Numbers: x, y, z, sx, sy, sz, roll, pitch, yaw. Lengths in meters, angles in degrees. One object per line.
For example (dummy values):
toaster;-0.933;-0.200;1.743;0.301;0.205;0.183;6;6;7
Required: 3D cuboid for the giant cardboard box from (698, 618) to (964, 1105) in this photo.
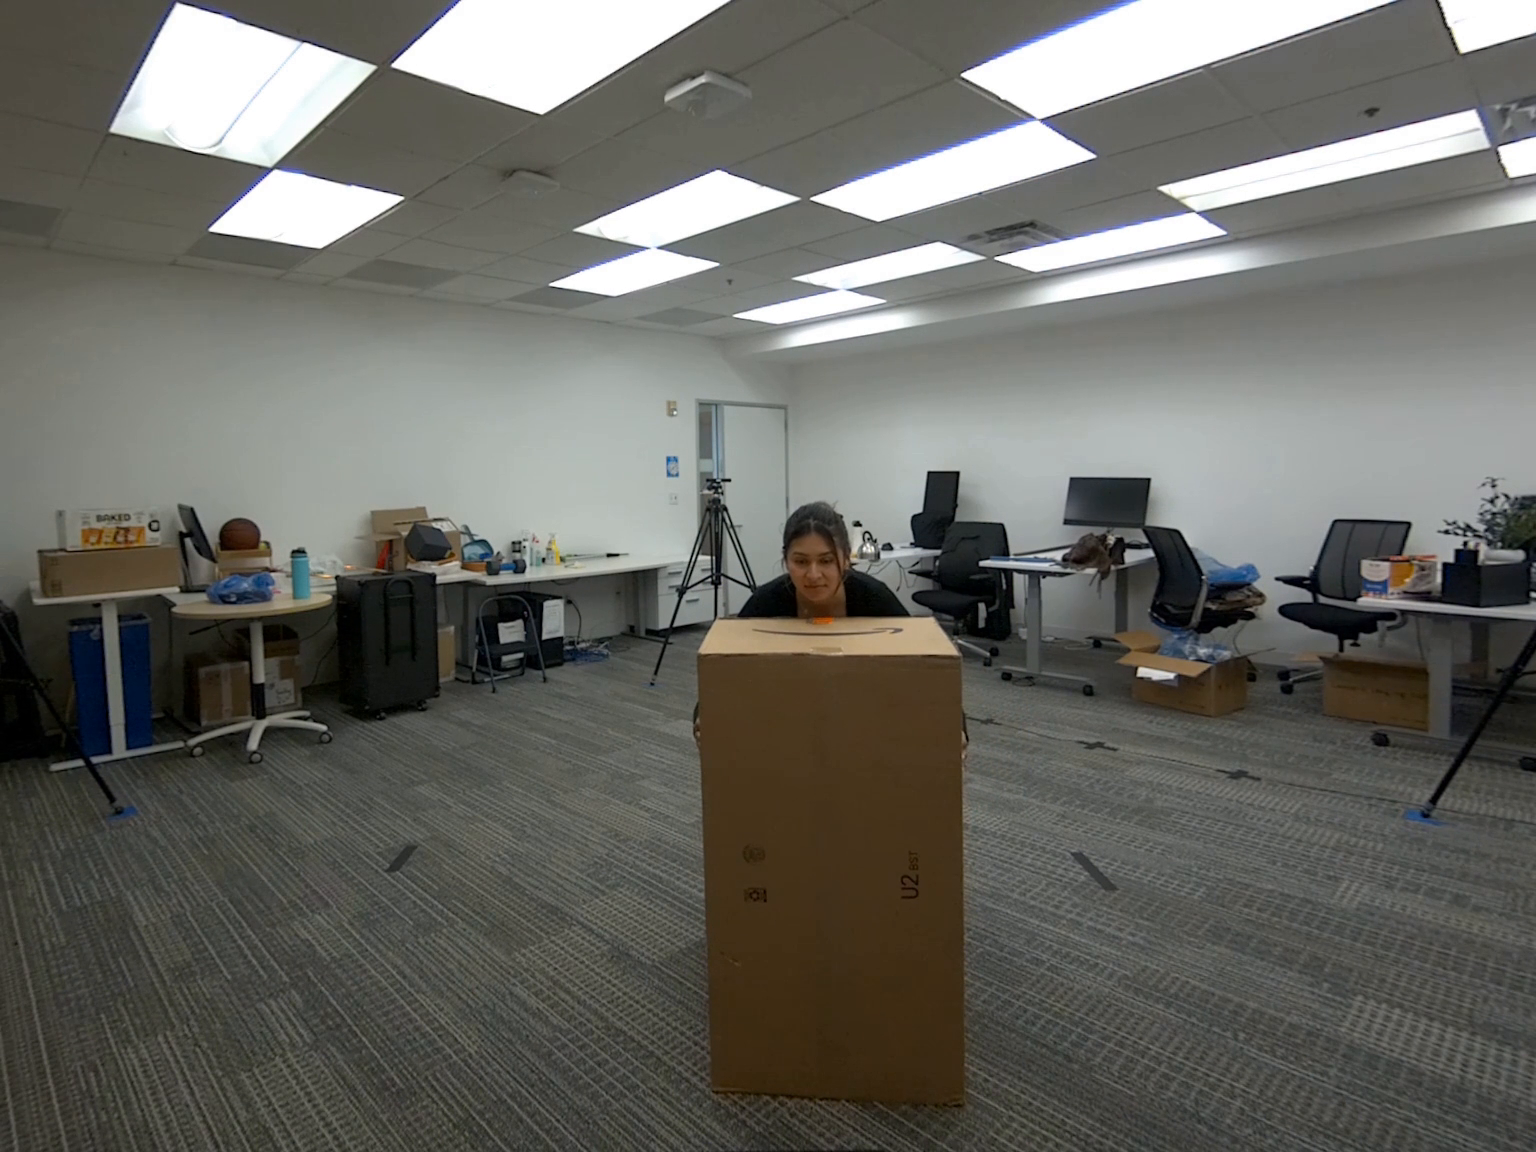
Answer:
giant cardboard box;0.155;0.648;2.085;0.580;1.021;0.426;-1;5;4
